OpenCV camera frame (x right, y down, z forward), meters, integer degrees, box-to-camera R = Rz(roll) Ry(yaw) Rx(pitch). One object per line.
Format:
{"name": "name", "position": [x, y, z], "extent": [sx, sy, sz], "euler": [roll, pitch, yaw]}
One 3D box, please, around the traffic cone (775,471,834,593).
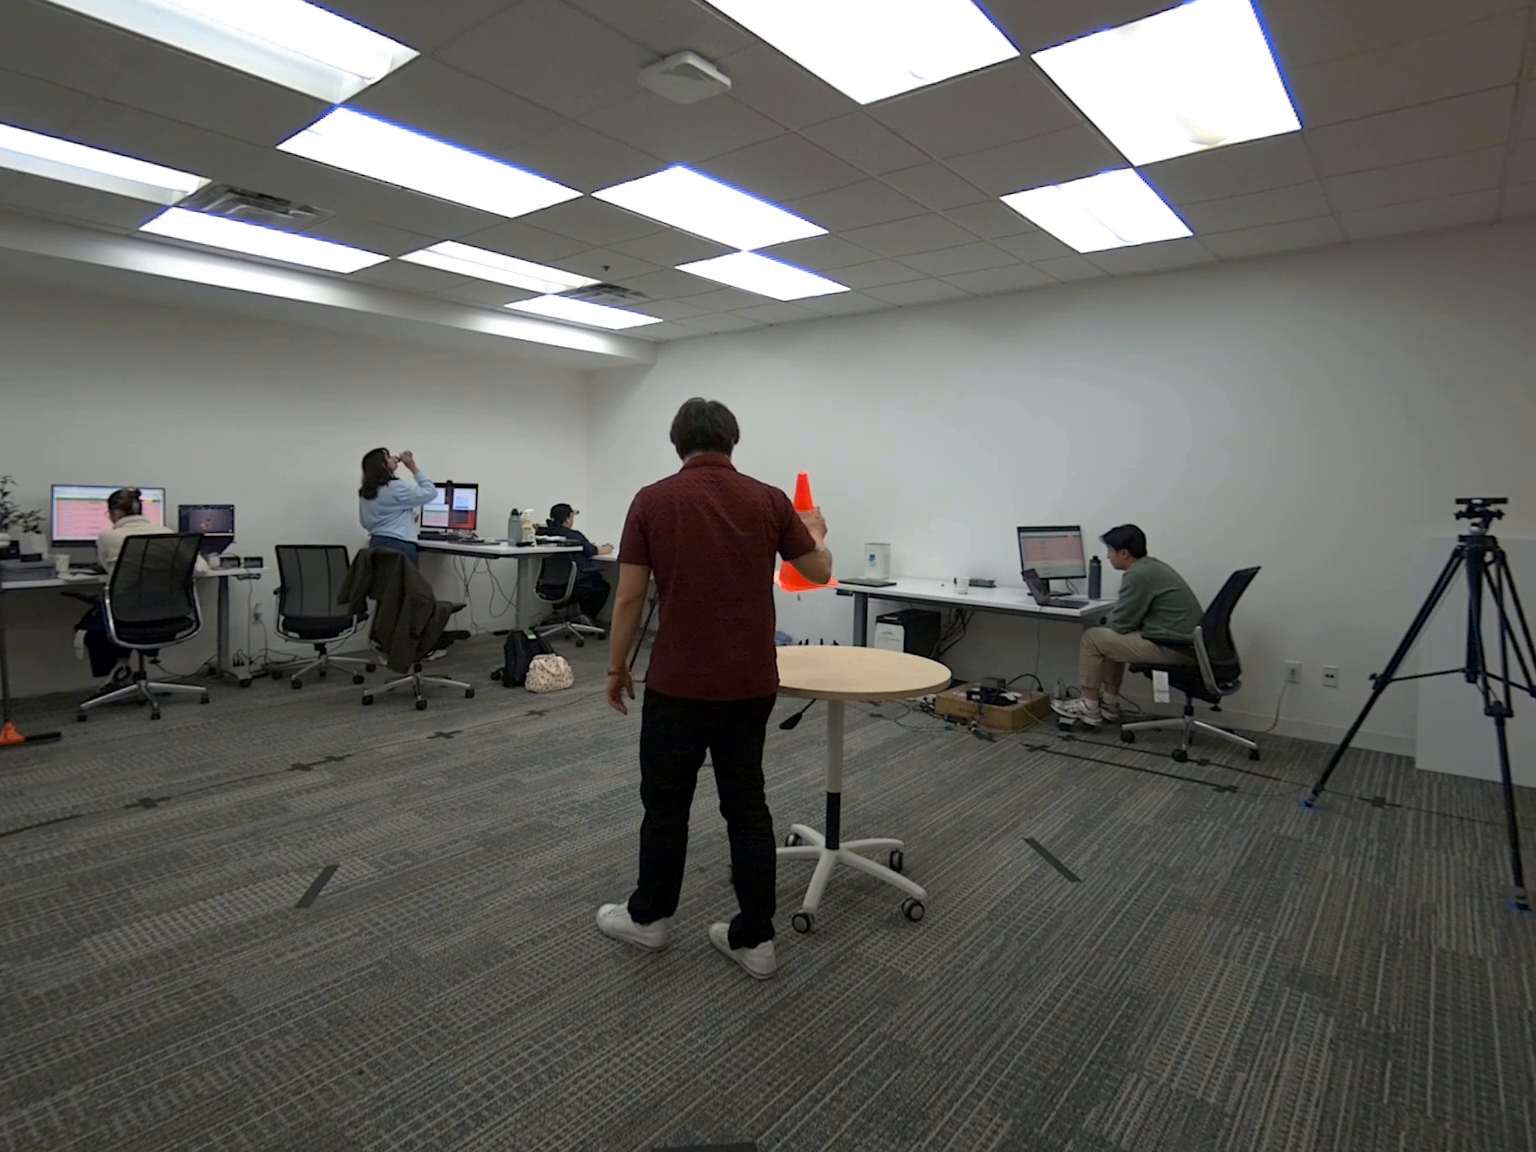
{"name": "traffic cone", "position": [0.112, -0.166, 2.876], "extent": [0.213, 0.376, 0.199], "euler": [17, 27, 42]}
